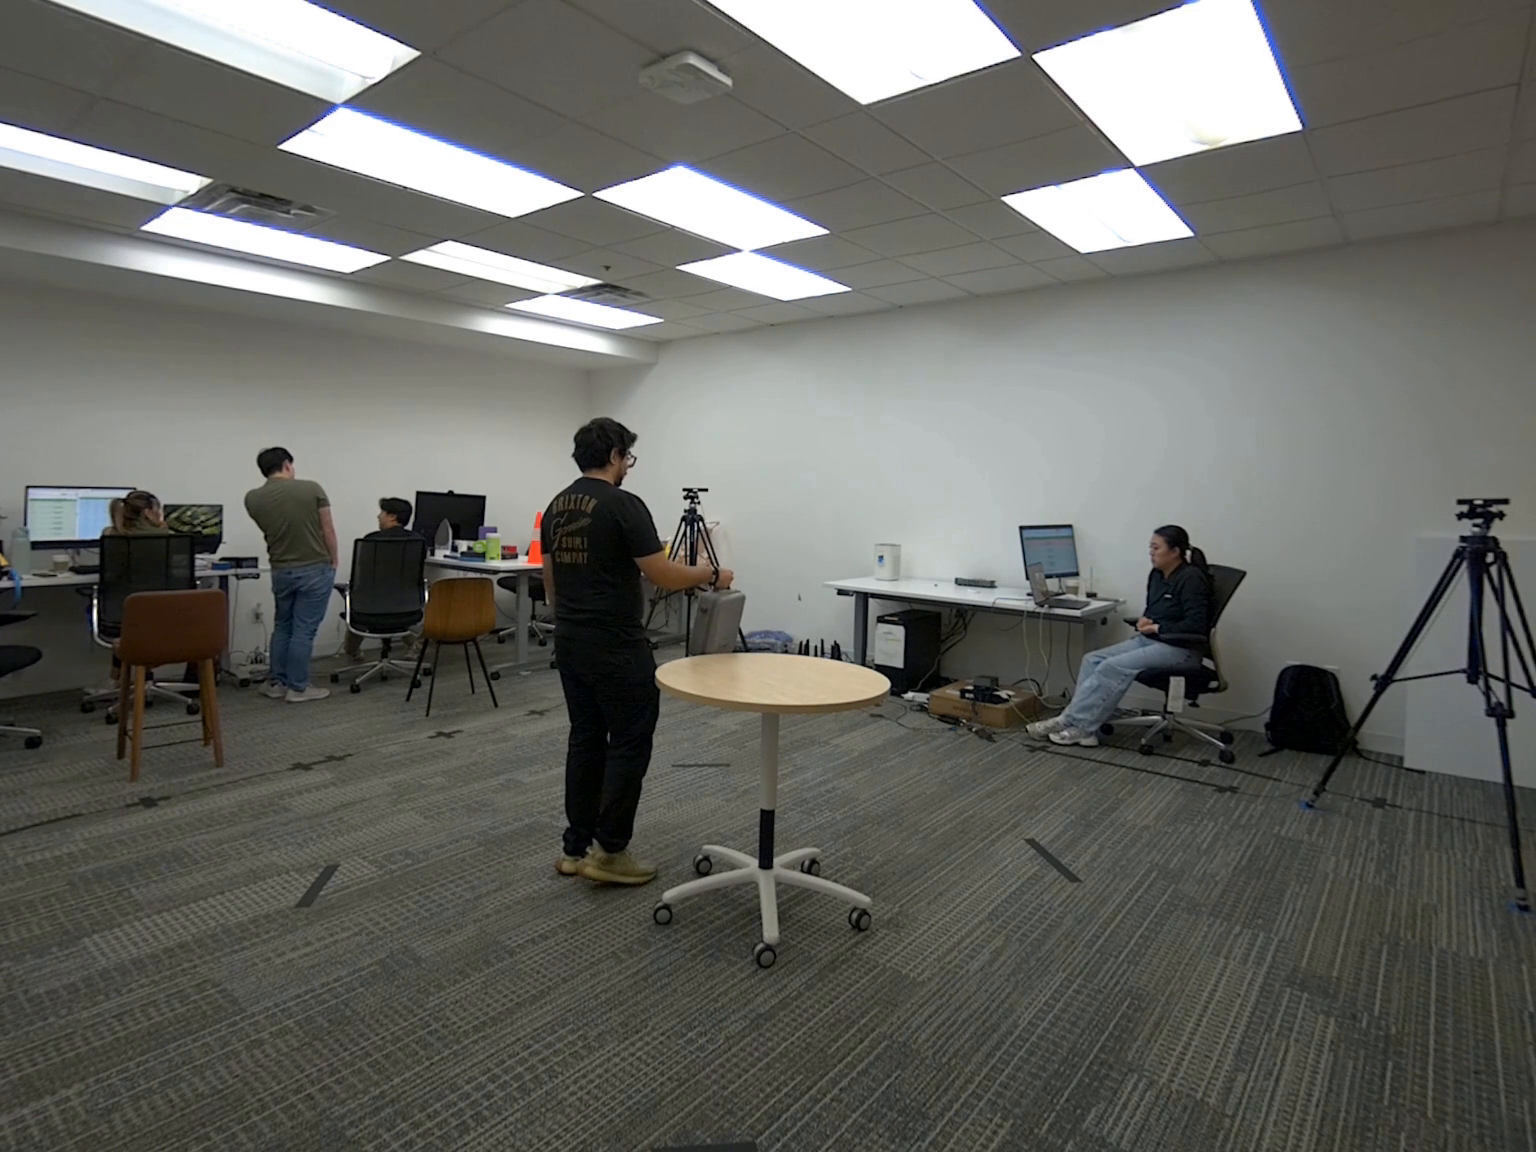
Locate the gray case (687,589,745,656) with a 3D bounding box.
[{"bbox_3d":[-0.202,0.180,3.232,0.107,0.259,0.251,13,6,20],"label":"gray case"}]
